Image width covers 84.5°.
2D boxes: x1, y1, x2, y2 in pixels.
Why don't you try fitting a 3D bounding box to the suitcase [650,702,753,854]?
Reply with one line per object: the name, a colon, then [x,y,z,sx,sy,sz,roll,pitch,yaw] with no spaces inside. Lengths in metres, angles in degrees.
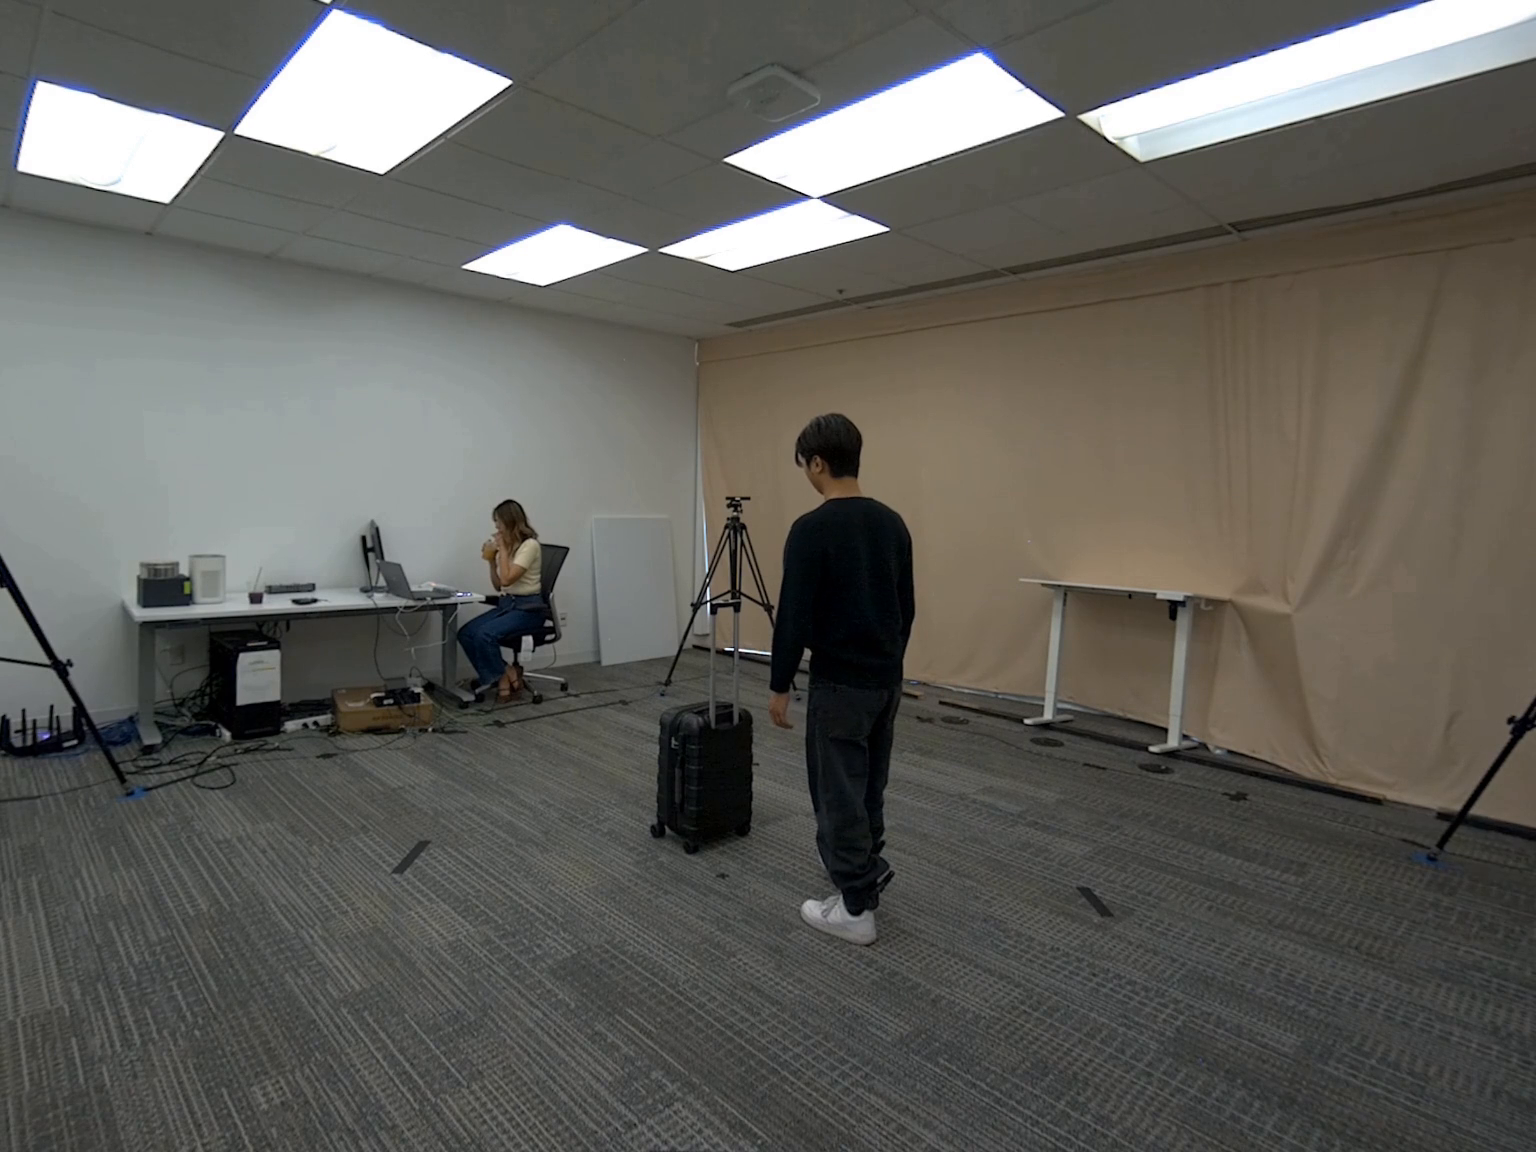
suitcase: [-0.264,0.593,3.446,0.263,0.978,0.375,2,2,45]
